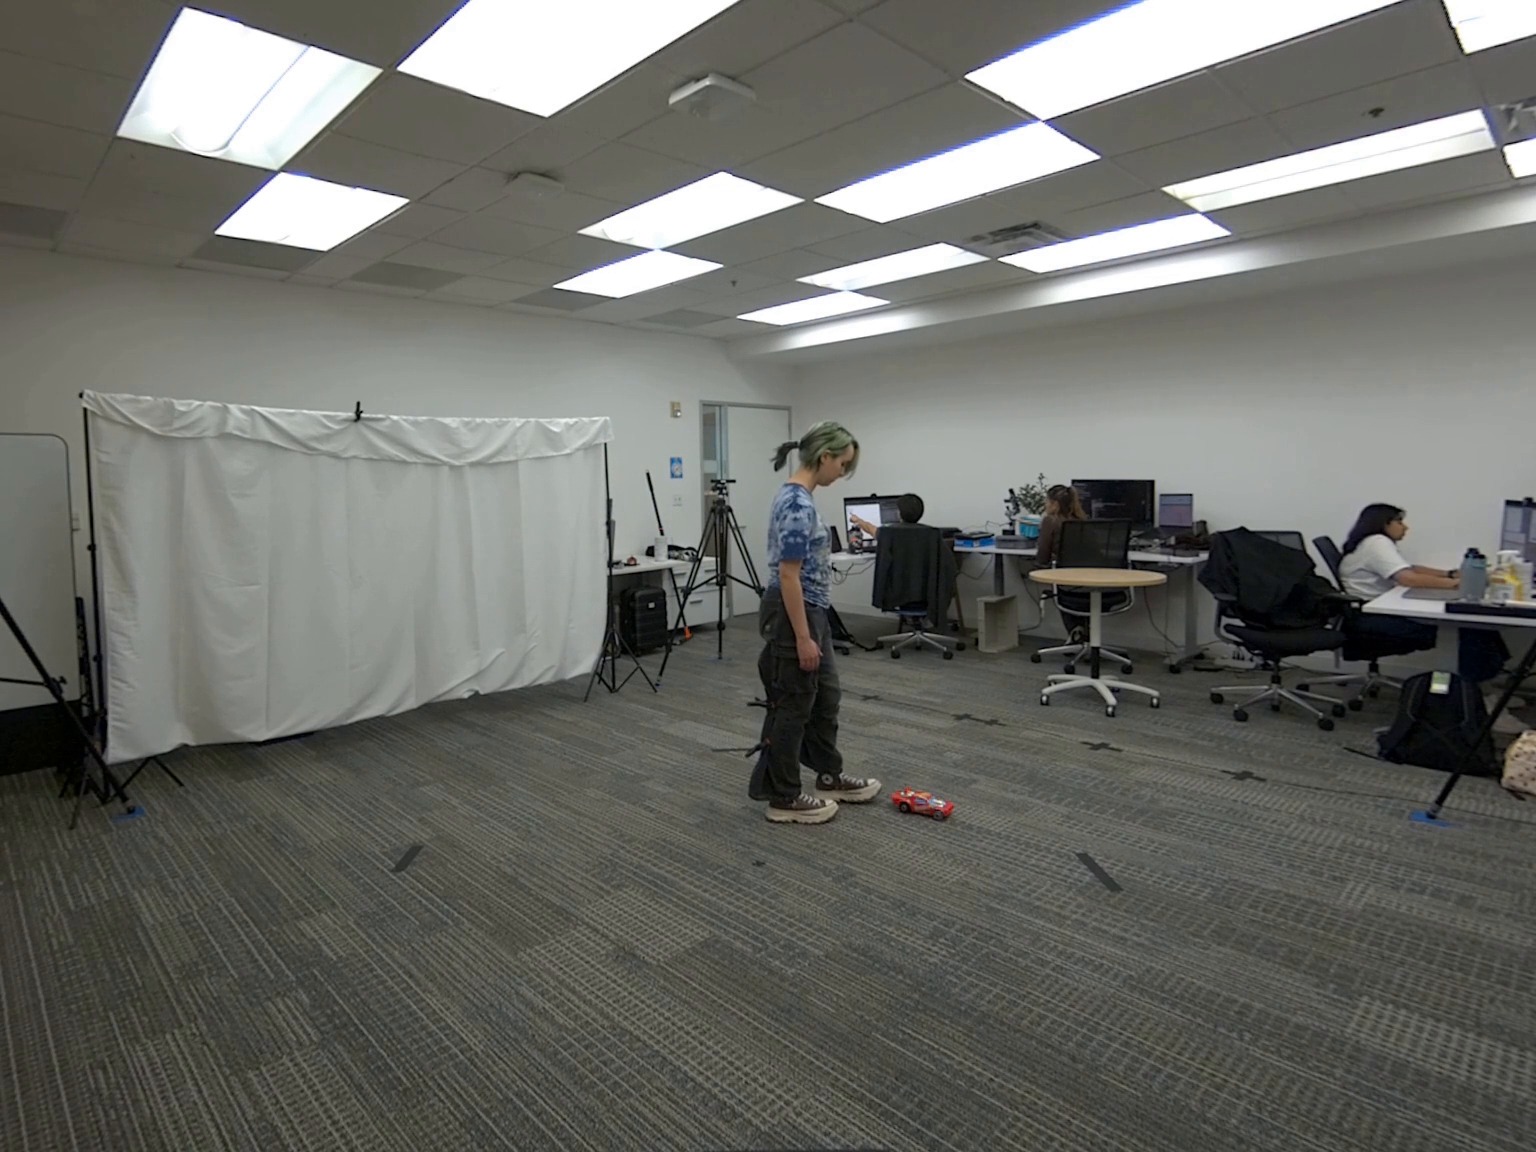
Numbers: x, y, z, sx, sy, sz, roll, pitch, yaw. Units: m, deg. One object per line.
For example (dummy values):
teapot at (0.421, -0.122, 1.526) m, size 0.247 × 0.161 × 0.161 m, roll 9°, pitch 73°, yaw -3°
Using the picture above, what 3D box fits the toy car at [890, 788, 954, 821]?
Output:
toy car at (0.635, 0.947, 3.563) m, size 0.263 × 0.082 × 0.127 m, roll 16°, pitch 14°, yaw 32°
